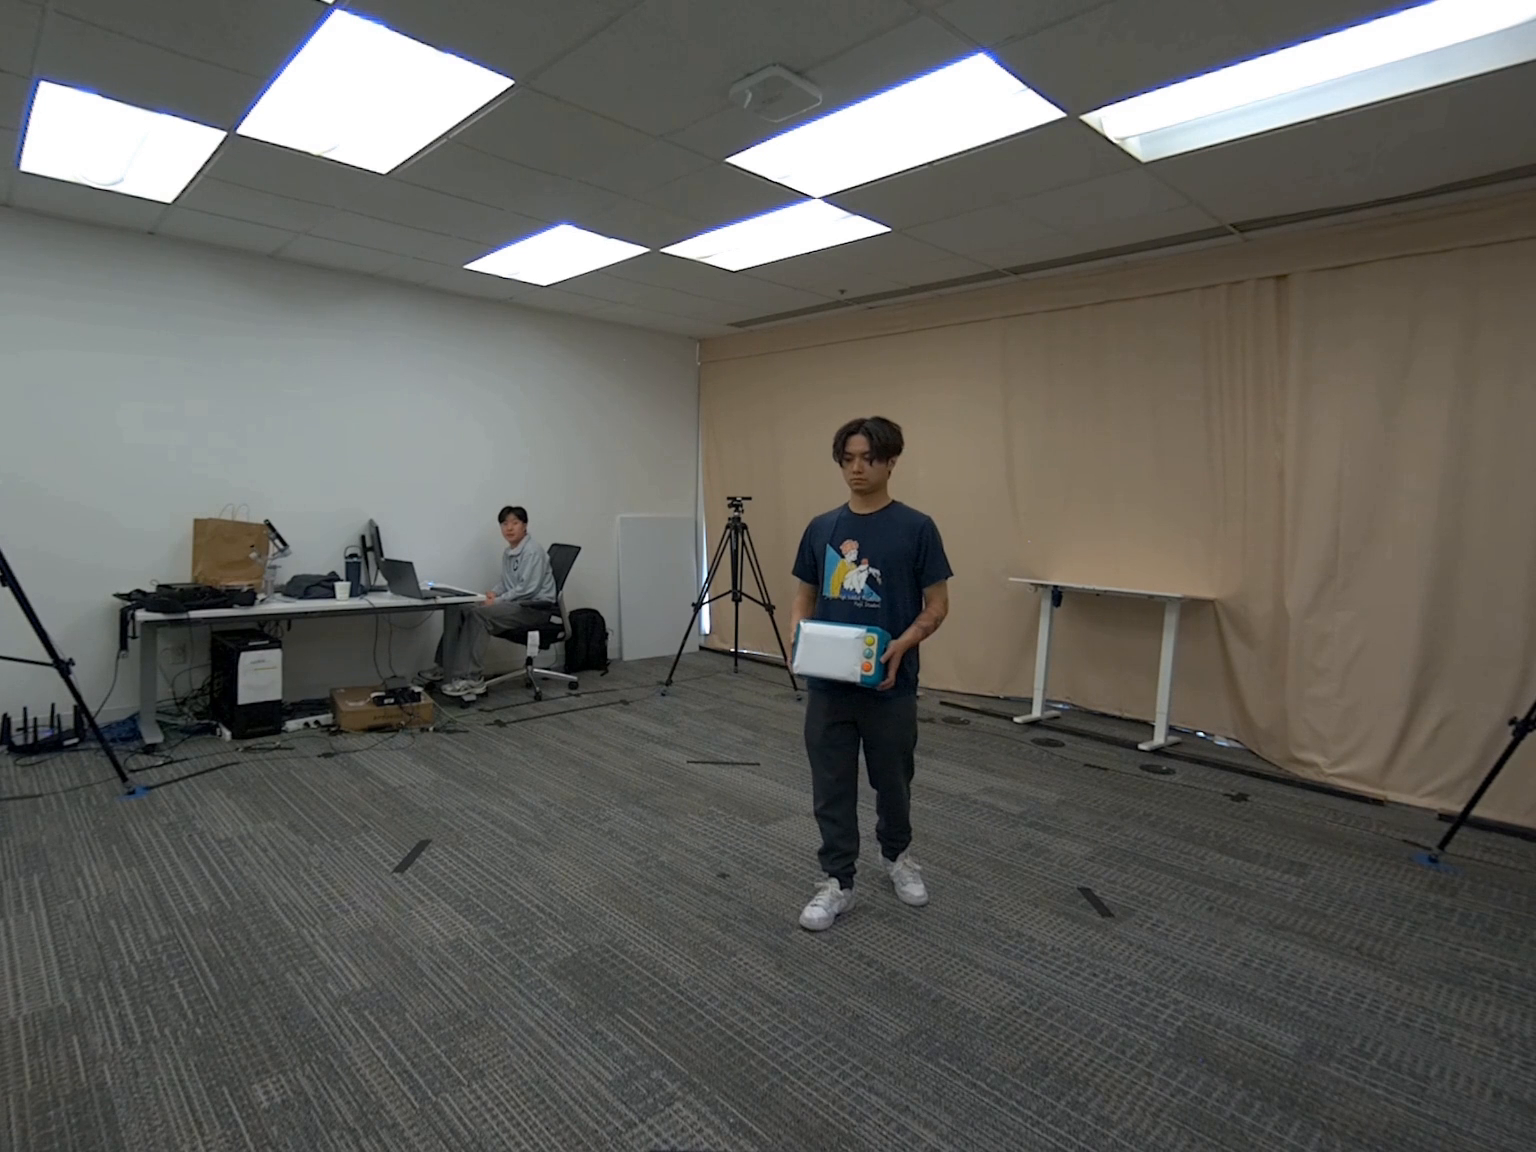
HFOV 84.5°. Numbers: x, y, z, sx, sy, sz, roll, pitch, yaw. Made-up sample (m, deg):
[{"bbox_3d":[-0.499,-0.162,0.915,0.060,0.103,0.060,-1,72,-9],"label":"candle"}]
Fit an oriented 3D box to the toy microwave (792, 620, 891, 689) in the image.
[{"bbox_3d":[0.212,0.236,2.632,0.292,0.185,0.148,5,-8,26],"label":"toy microwave"}]
